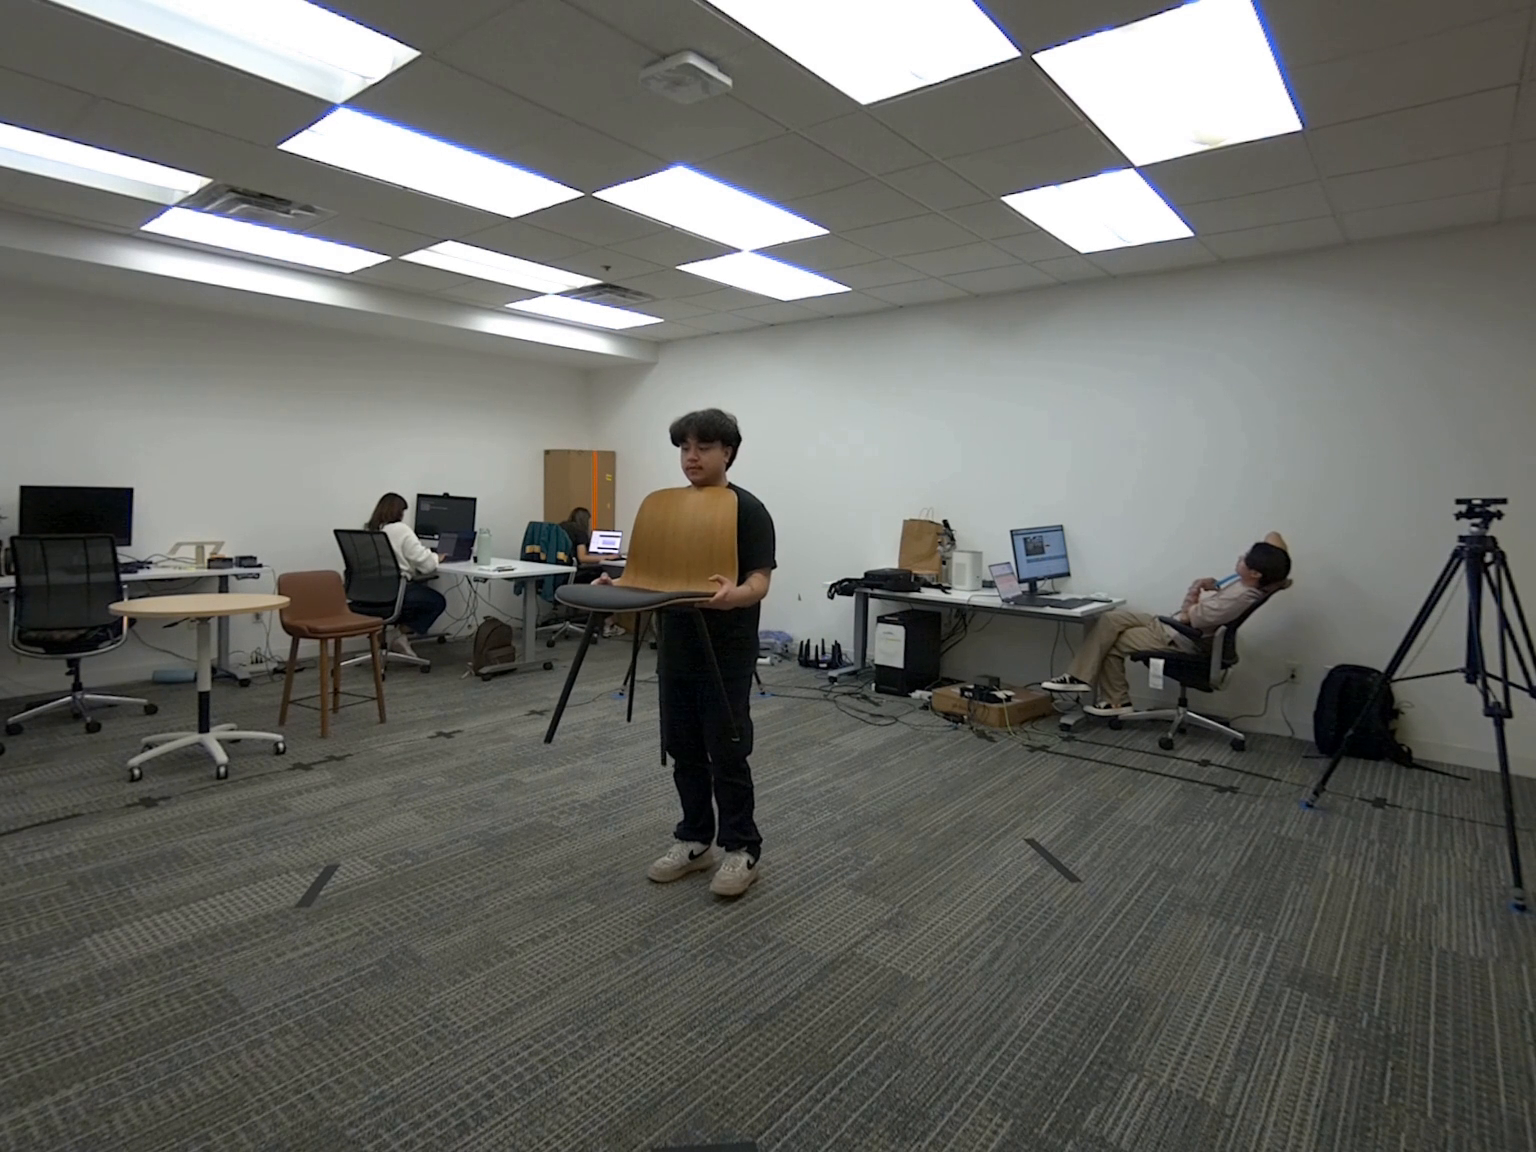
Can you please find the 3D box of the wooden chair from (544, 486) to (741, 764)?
[{"bbox_3d":[-0.388,0.108,2.743,0.491,0.881,0.507,3,-4,28],"label":"wooden chair"}]
